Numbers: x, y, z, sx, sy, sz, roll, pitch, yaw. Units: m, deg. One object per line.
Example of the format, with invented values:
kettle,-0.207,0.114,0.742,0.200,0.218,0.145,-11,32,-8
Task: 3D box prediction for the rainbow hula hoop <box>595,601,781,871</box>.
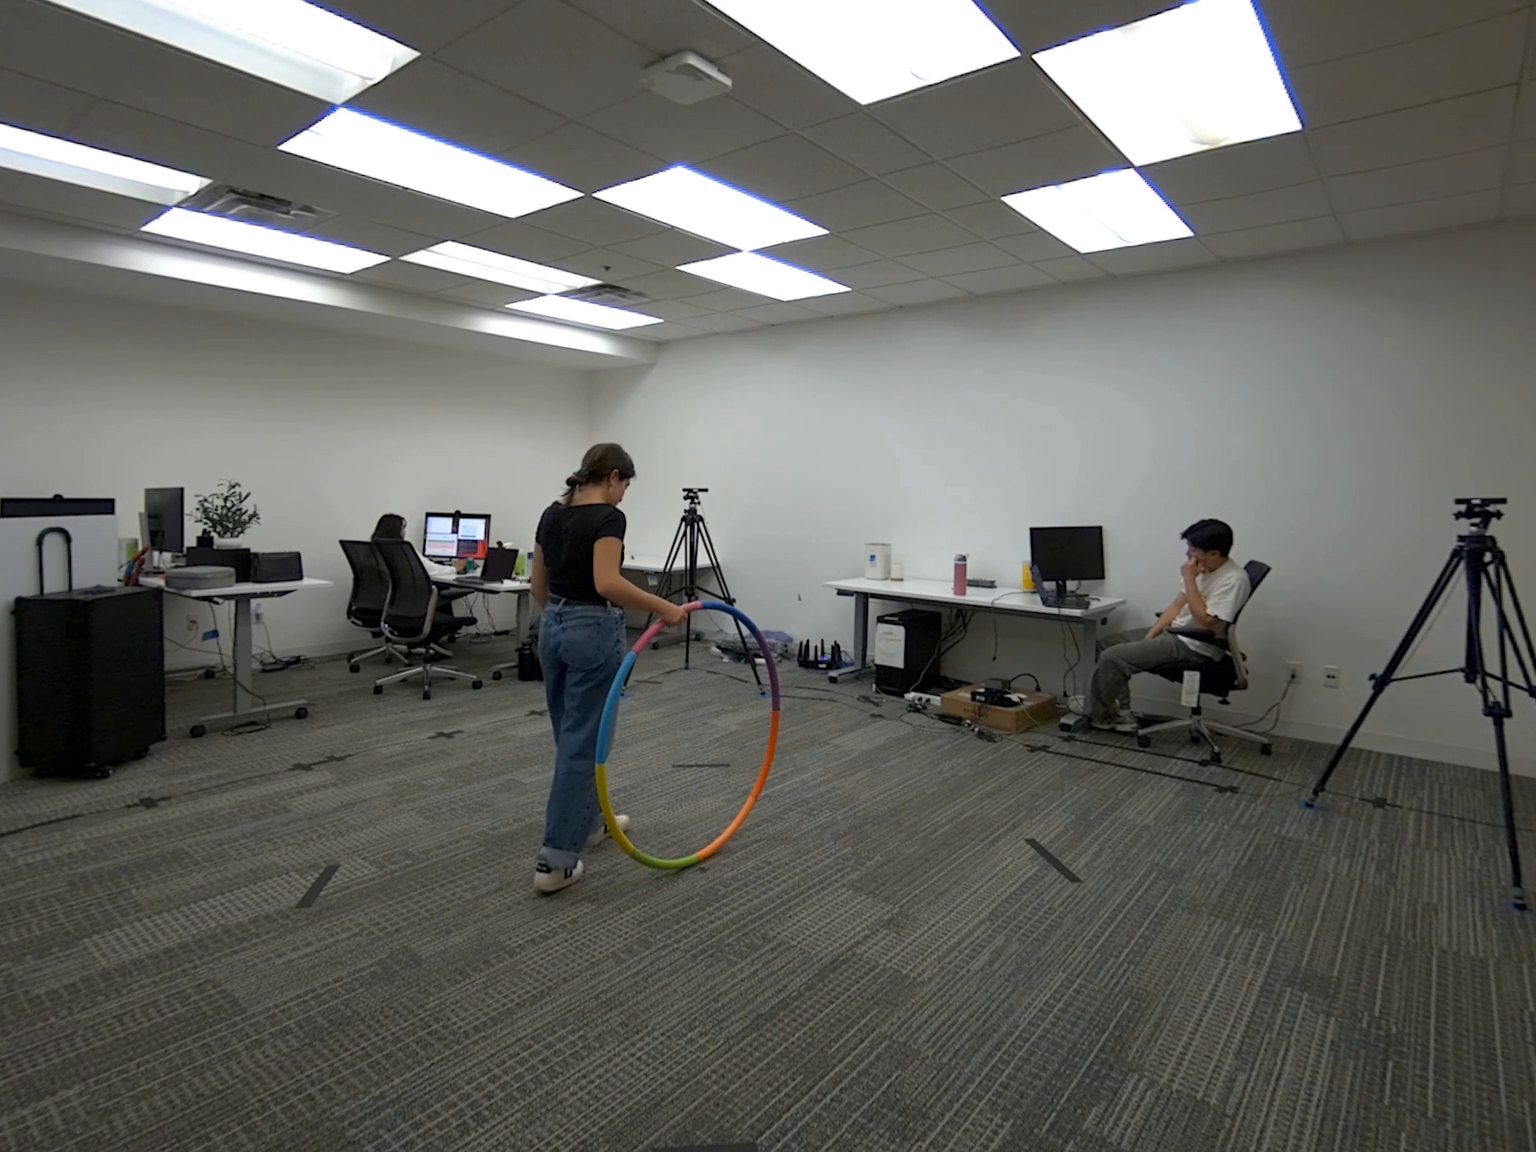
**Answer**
rainbow hula hoop,-0.255,0.575,3.149,0.037,0.976,0.950,3,4,38
